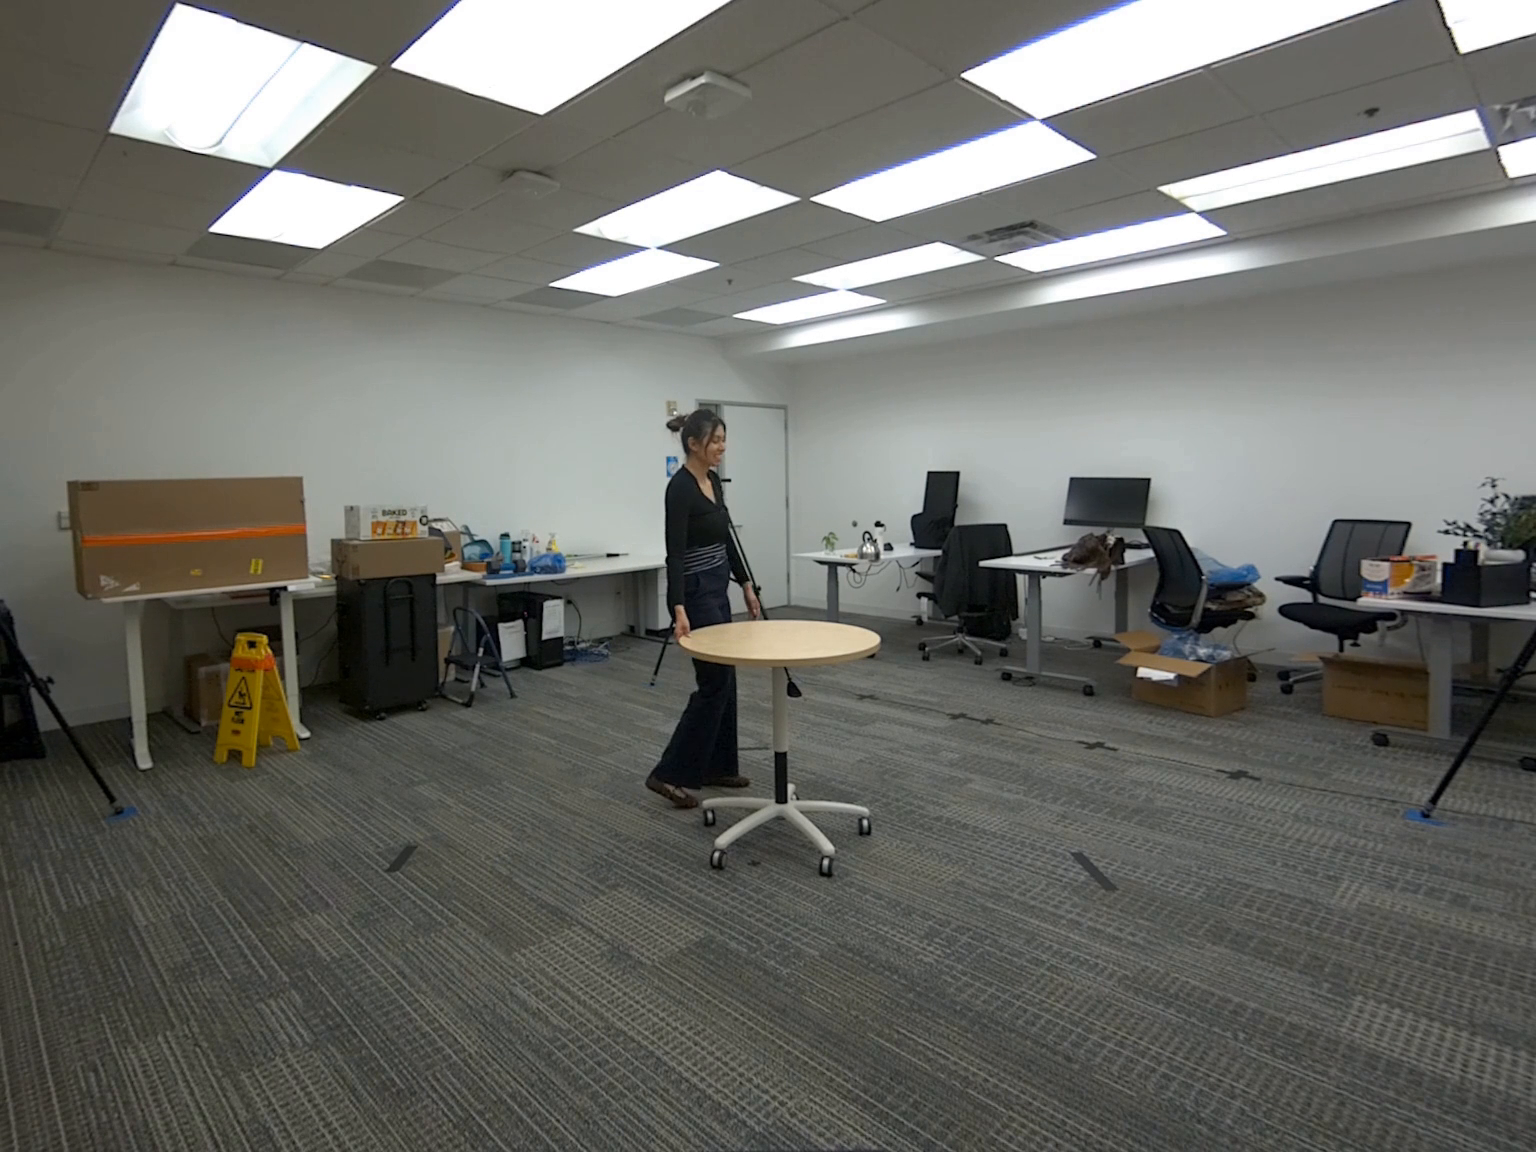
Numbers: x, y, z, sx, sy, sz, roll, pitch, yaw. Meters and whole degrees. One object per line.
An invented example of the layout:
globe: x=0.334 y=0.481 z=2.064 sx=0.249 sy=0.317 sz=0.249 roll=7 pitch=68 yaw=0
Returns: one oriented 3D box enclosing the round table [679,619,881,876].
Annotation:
round table: x=0.051 y=0.629 z=3.296 sx=0.763 sy=0.791 sz=0.768 roll=-1 pitch=5 yaw=-2
